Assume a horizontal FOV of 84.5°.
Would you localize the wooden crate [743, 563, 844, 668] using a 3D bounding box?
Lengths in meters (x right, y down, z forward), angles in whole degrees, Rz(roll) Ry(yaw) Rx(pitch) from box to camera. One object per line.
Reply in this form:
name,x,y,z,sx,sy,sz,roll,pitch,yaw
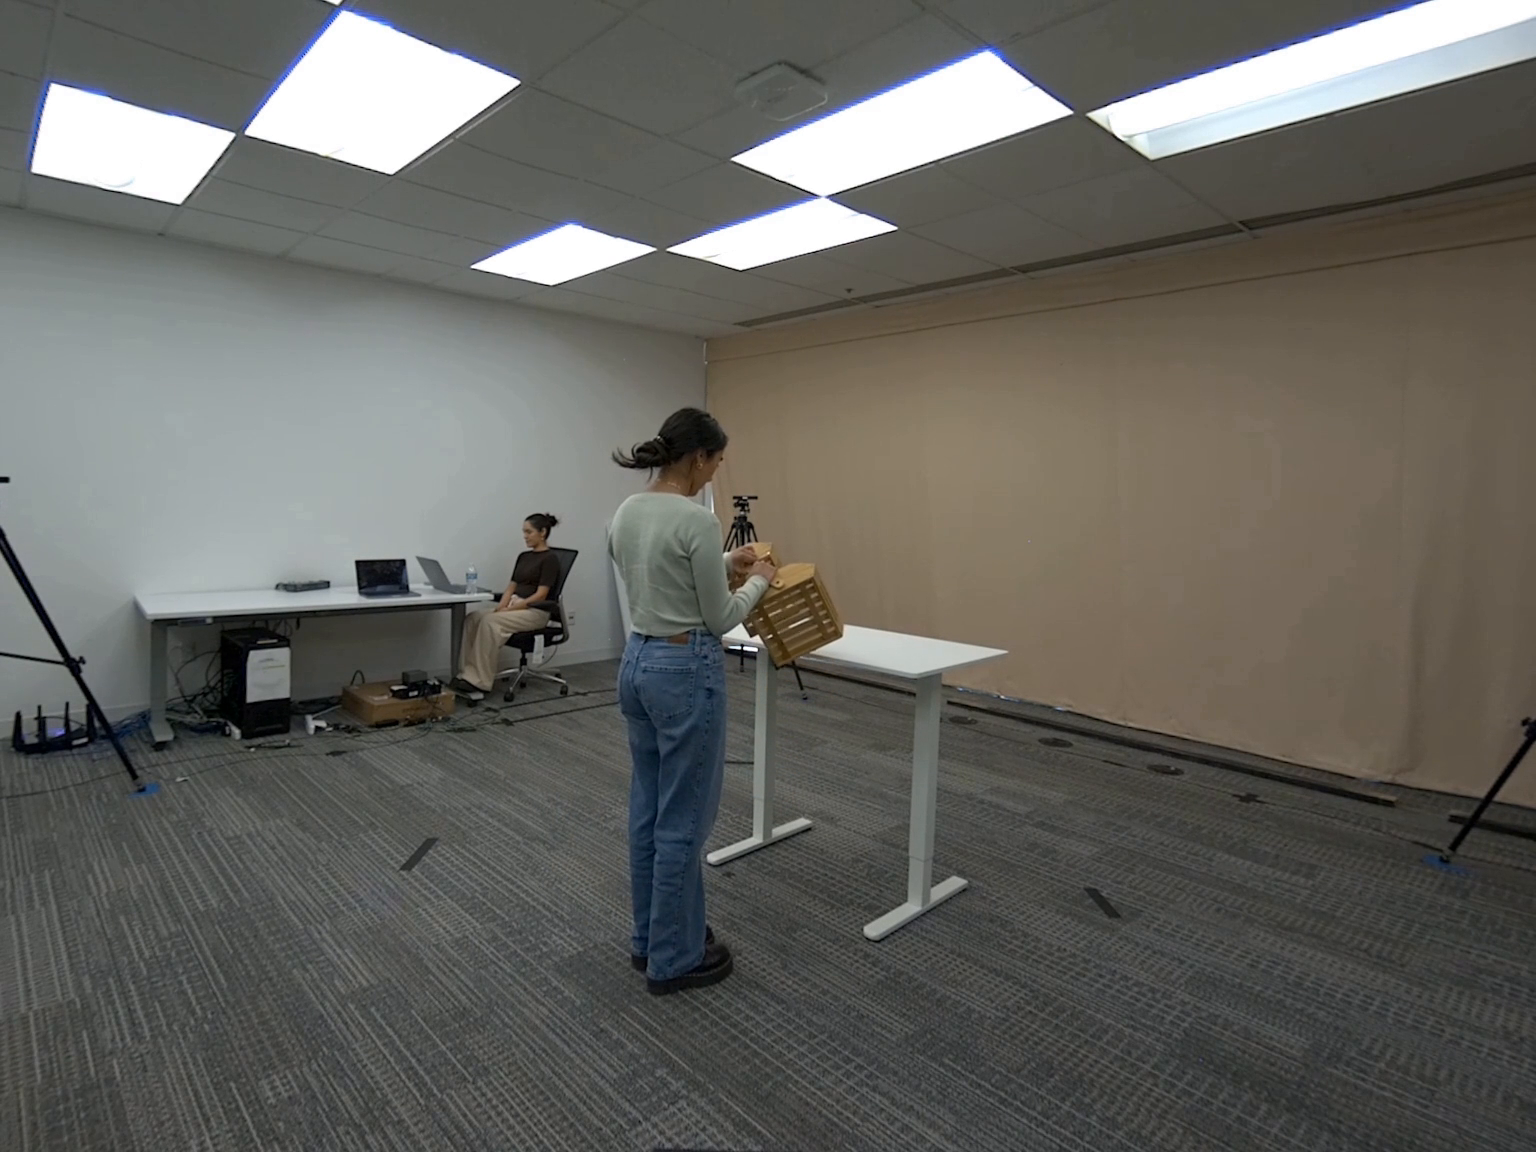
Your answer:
wooden crate,0.022,0.072,2.686,0.302,0.315,0.281,-25,42,1
